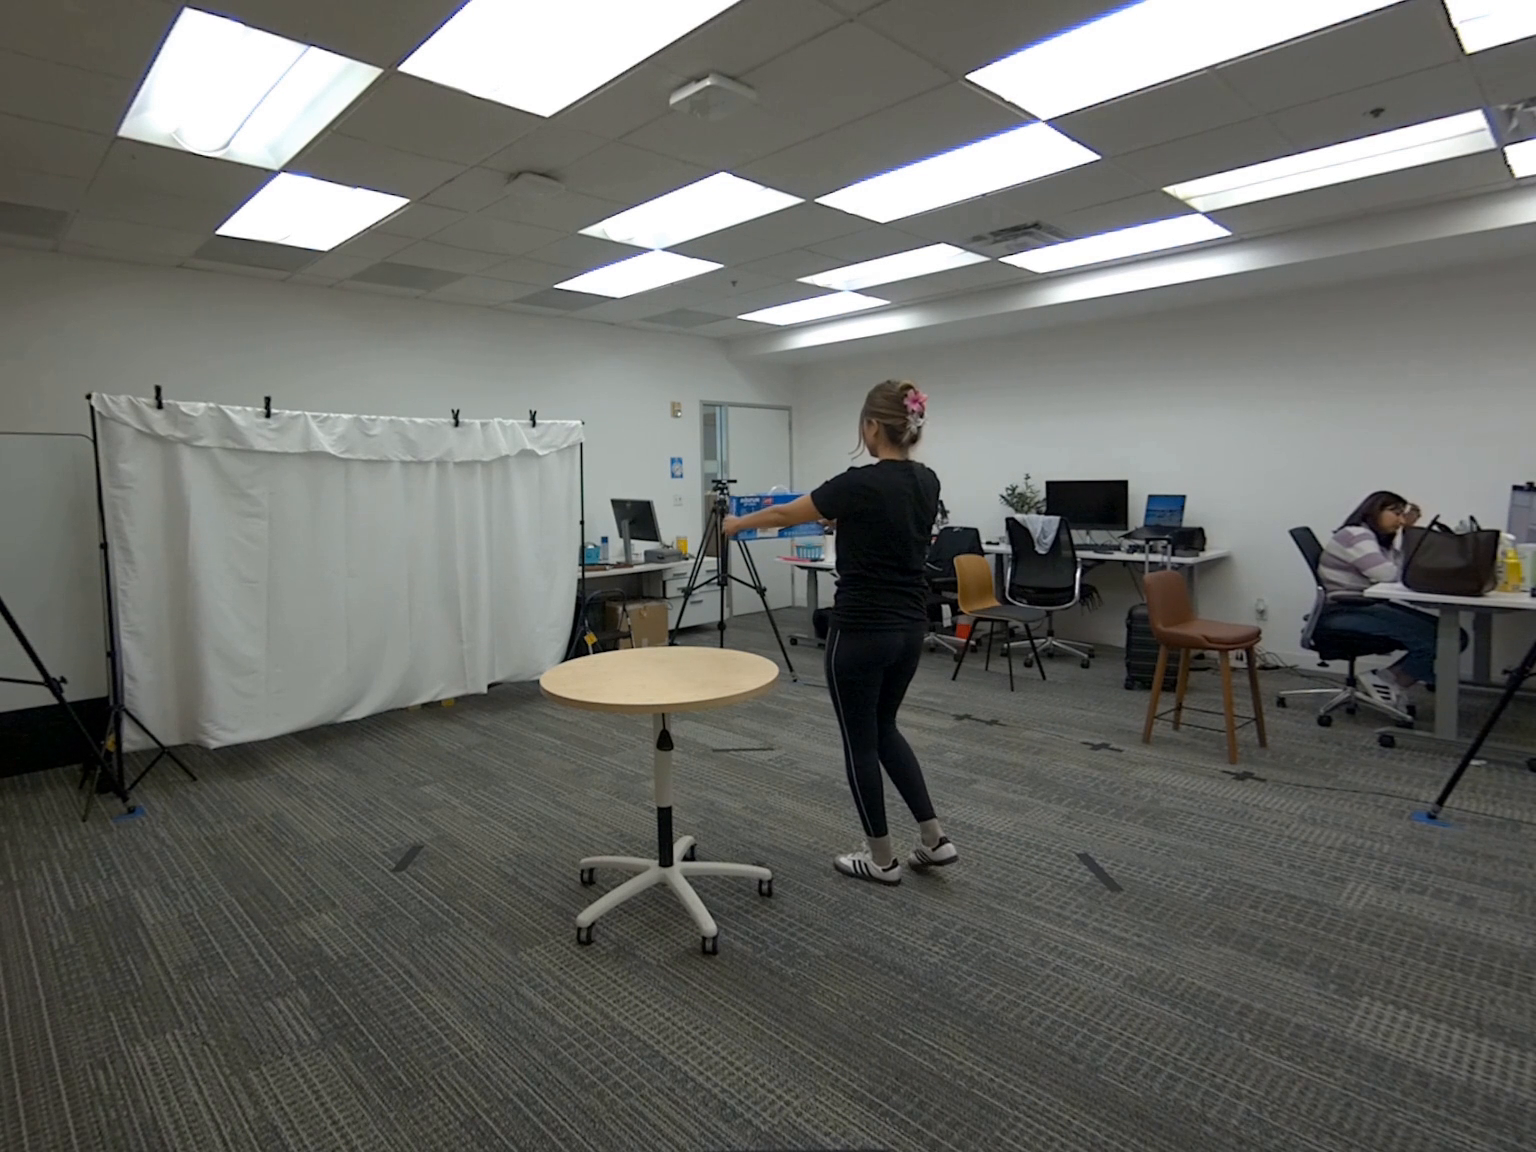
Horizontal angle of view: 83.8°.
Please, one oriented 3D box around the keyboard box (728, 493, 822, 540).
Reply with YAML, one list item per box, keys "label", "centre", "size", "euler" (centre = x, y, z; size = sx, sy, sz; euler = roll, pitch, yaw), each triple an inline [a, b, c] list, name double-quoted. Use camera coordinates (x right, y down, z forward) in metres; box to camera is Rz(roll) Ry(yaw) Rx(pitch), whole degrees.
- label: "keyboard box"
  centre: [0.046, -0.234, 3.355]
  size: [0.426, 0.175, 0.061]
  euler: [-6, 9, -35]
